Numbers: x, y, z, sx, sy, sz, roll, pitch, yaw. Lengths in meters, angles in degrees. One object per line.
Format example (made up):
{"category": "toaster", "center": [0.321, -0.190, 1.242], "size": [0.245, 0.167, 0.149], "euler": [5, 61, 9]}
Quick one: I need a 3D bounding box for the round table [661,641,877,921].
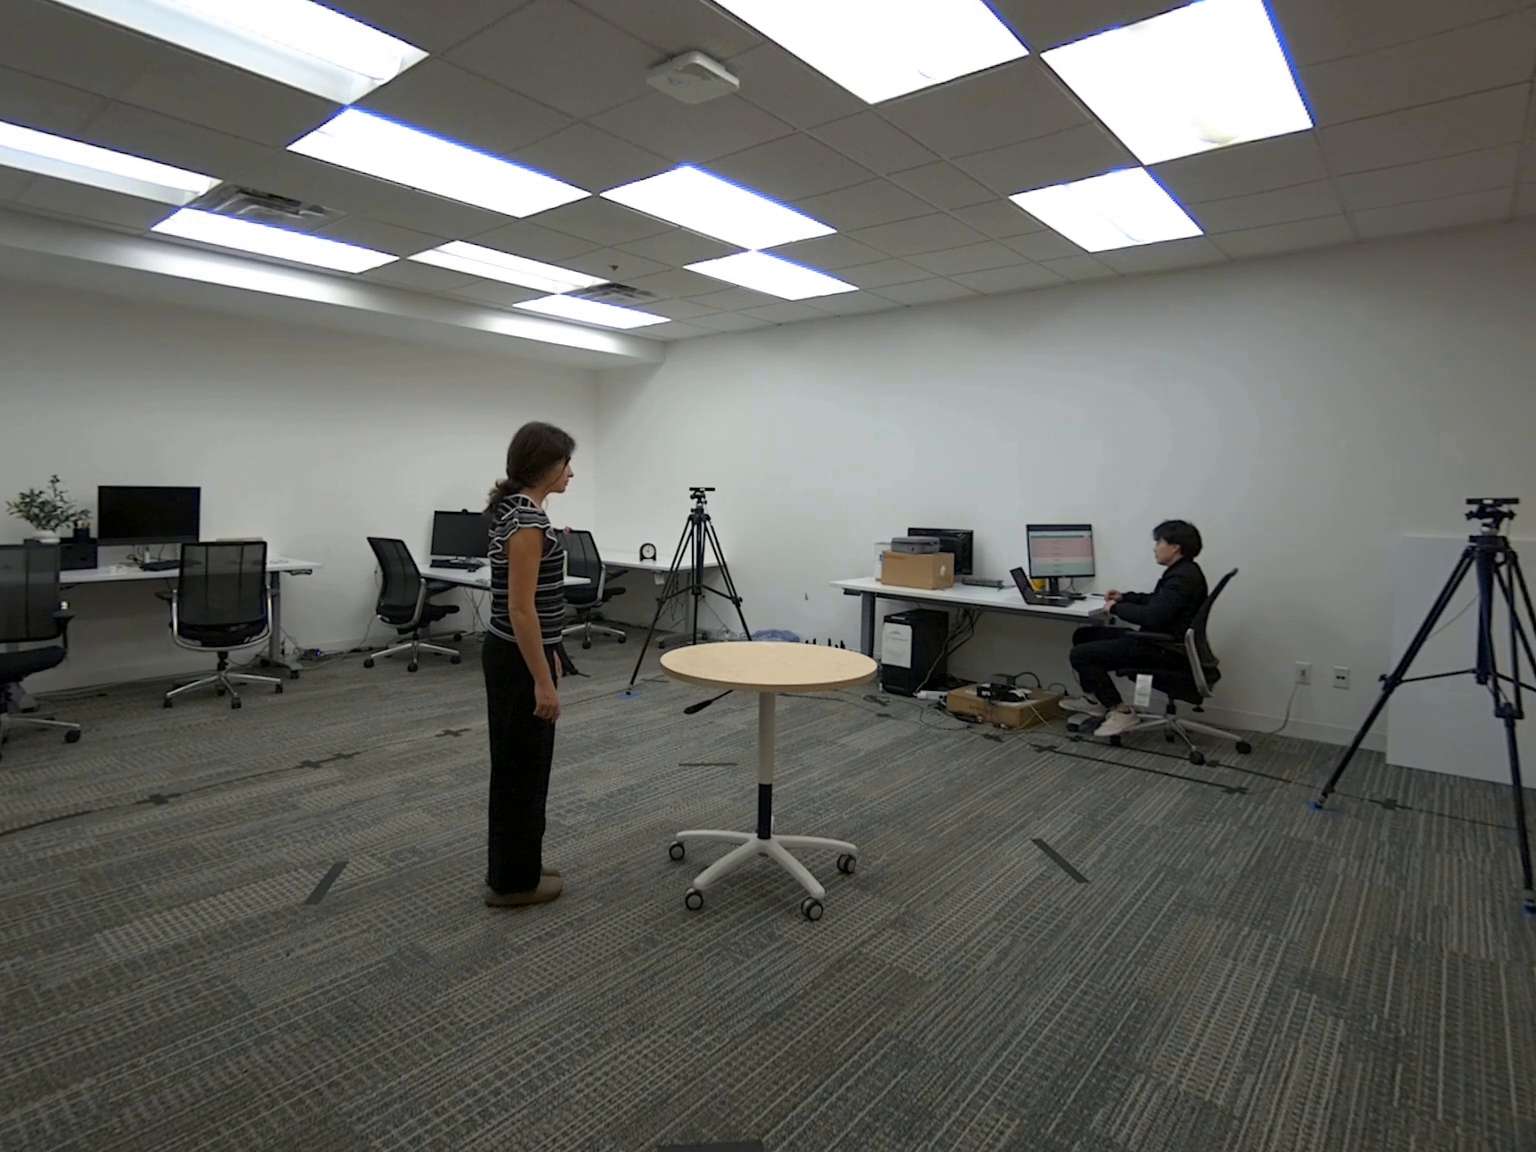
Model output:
{"category": "round table", "center": [-0.019, 0.693, 3.043], "size": [0.763, 0.791, 0.768], "euler": [1, 4, -2]}
